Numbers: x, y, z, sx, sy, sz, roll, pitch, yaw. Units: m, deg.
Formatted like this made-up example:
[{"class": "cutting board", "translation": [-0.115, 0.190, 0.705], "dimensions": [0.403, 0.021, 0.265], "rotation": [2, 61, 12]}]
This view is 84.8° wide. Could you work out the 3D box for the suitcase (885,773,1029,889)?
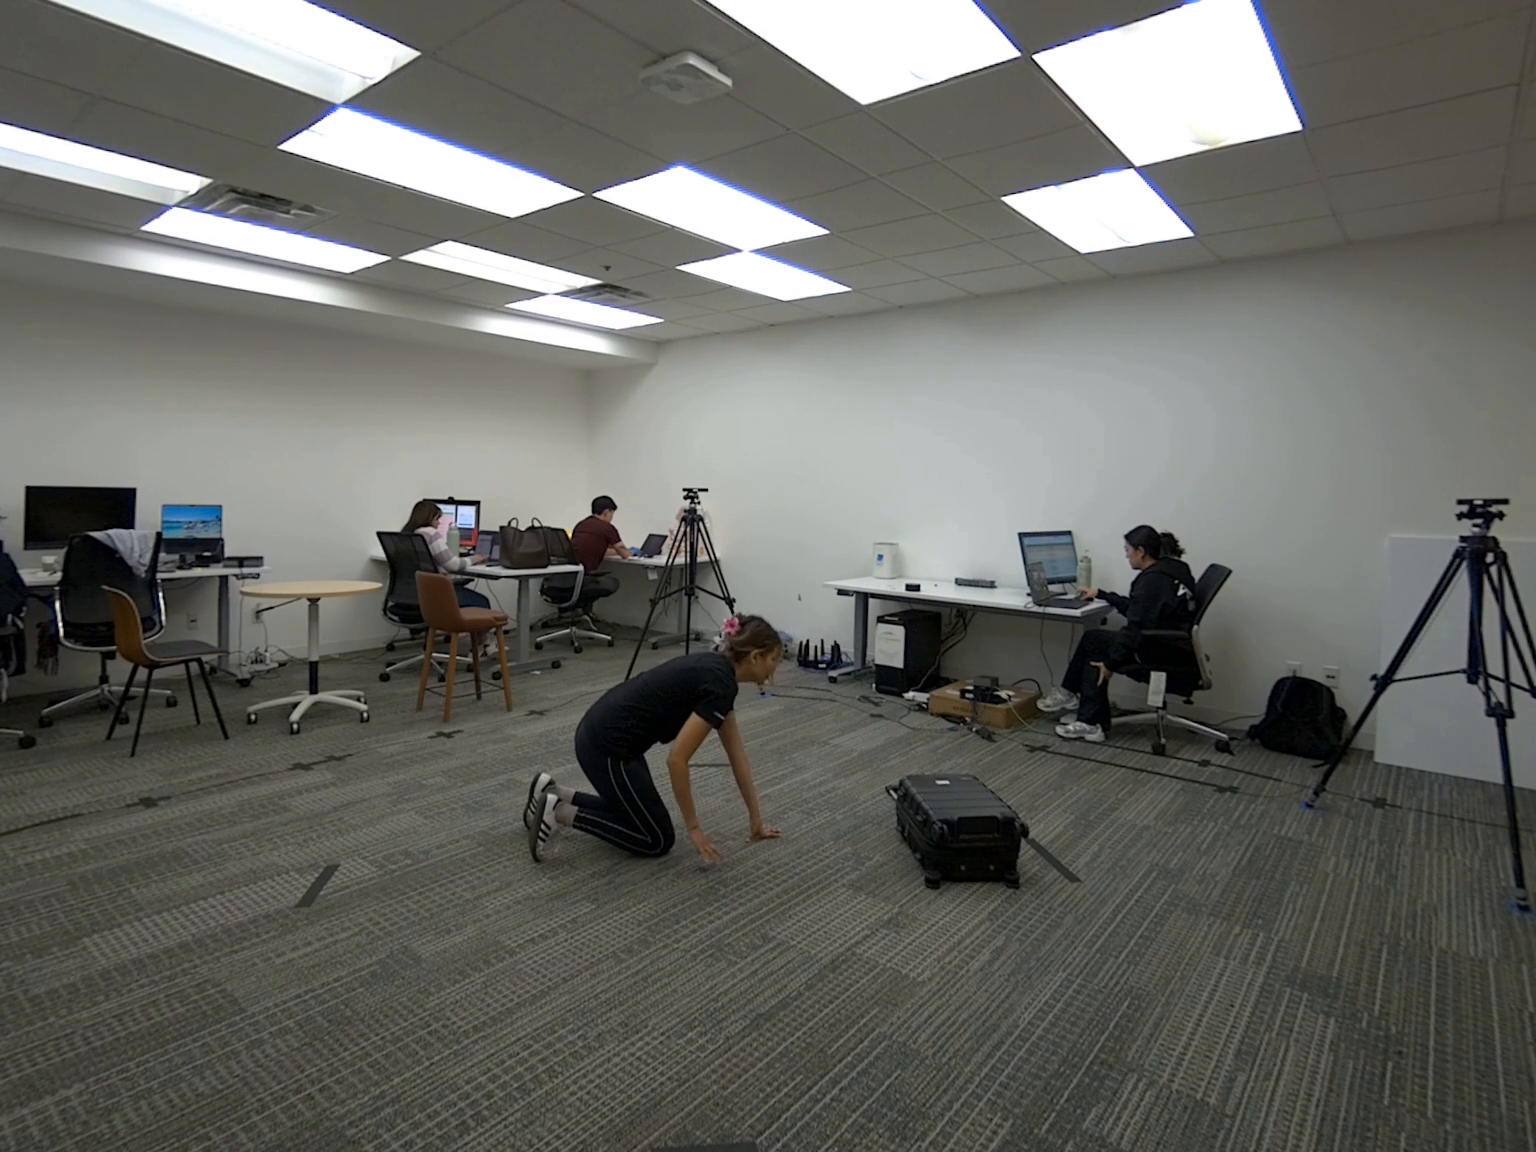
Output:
[{"class": "suitcase", "translation": [0.689, 0.933, 3.478], "dimensions": [0.382, 0.255, 0.990], "rotation": [-1, 7, -7]}]
